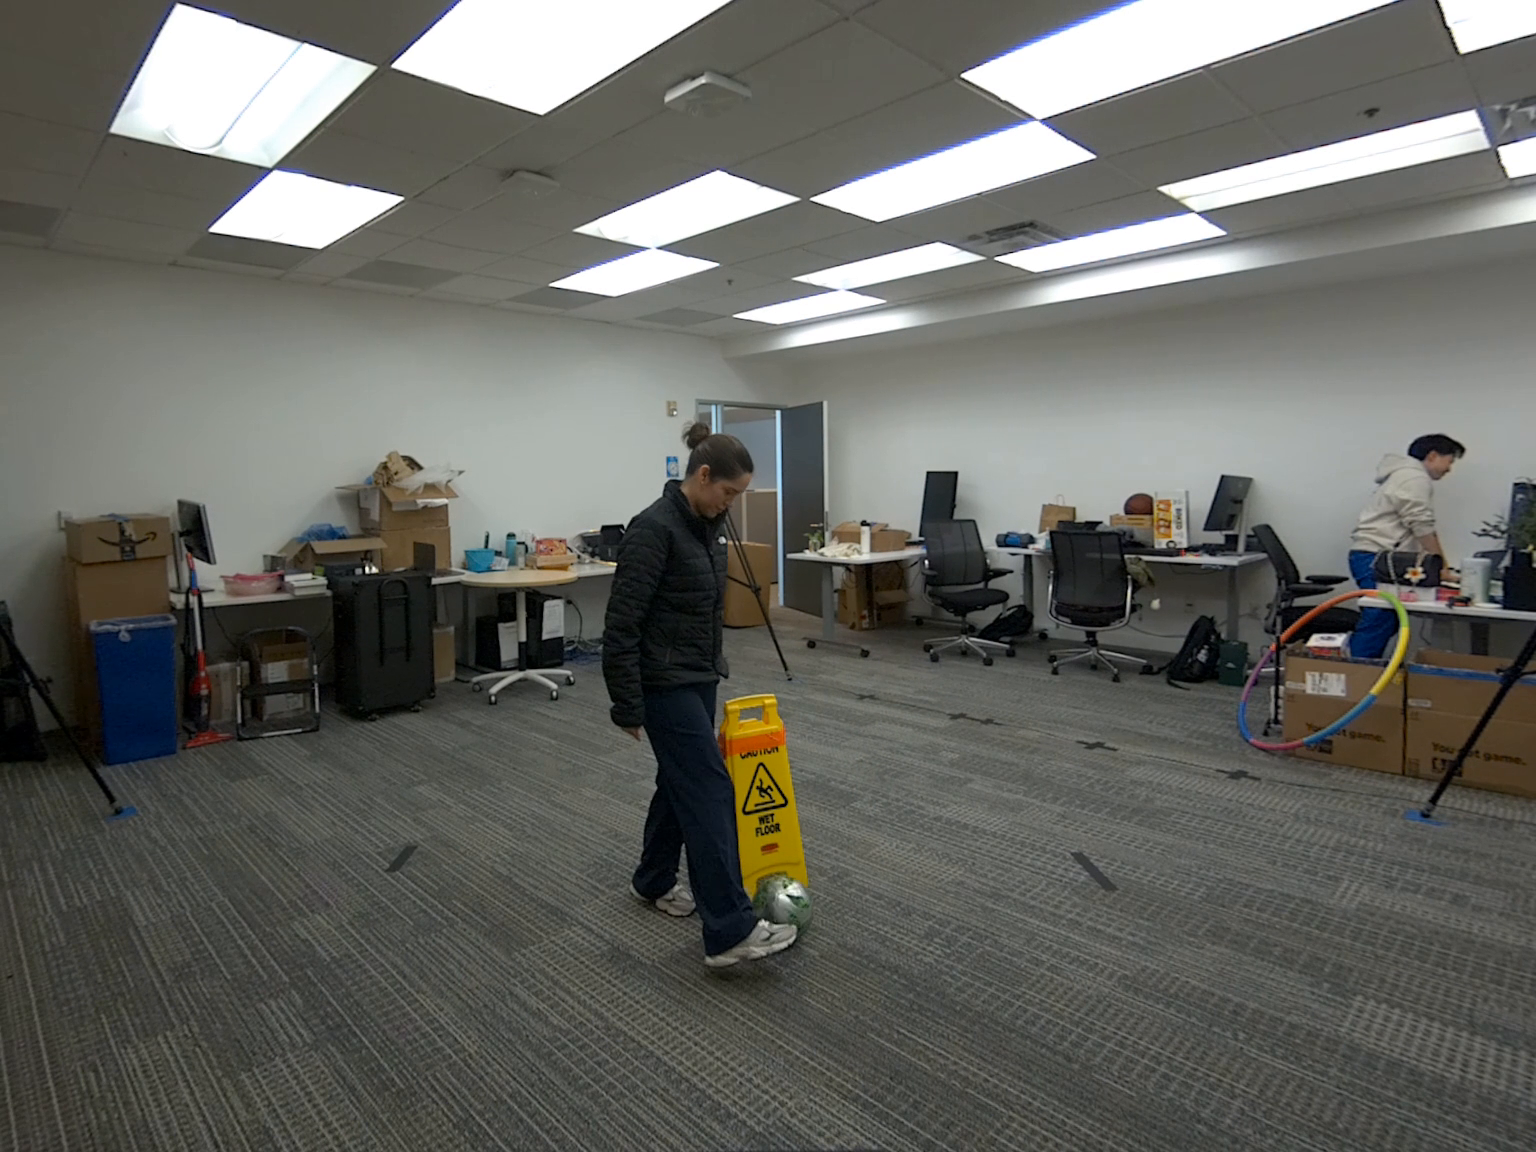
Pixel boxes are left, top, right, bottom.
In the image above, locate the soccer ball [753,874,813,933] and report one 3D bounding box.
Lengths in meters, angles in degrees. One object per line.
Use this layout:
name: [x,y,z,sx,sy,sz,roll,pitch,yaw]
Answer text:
soccer ball: [0.046,1.012,2.590,0.187,0.187,0.188,-1,5,-2]
